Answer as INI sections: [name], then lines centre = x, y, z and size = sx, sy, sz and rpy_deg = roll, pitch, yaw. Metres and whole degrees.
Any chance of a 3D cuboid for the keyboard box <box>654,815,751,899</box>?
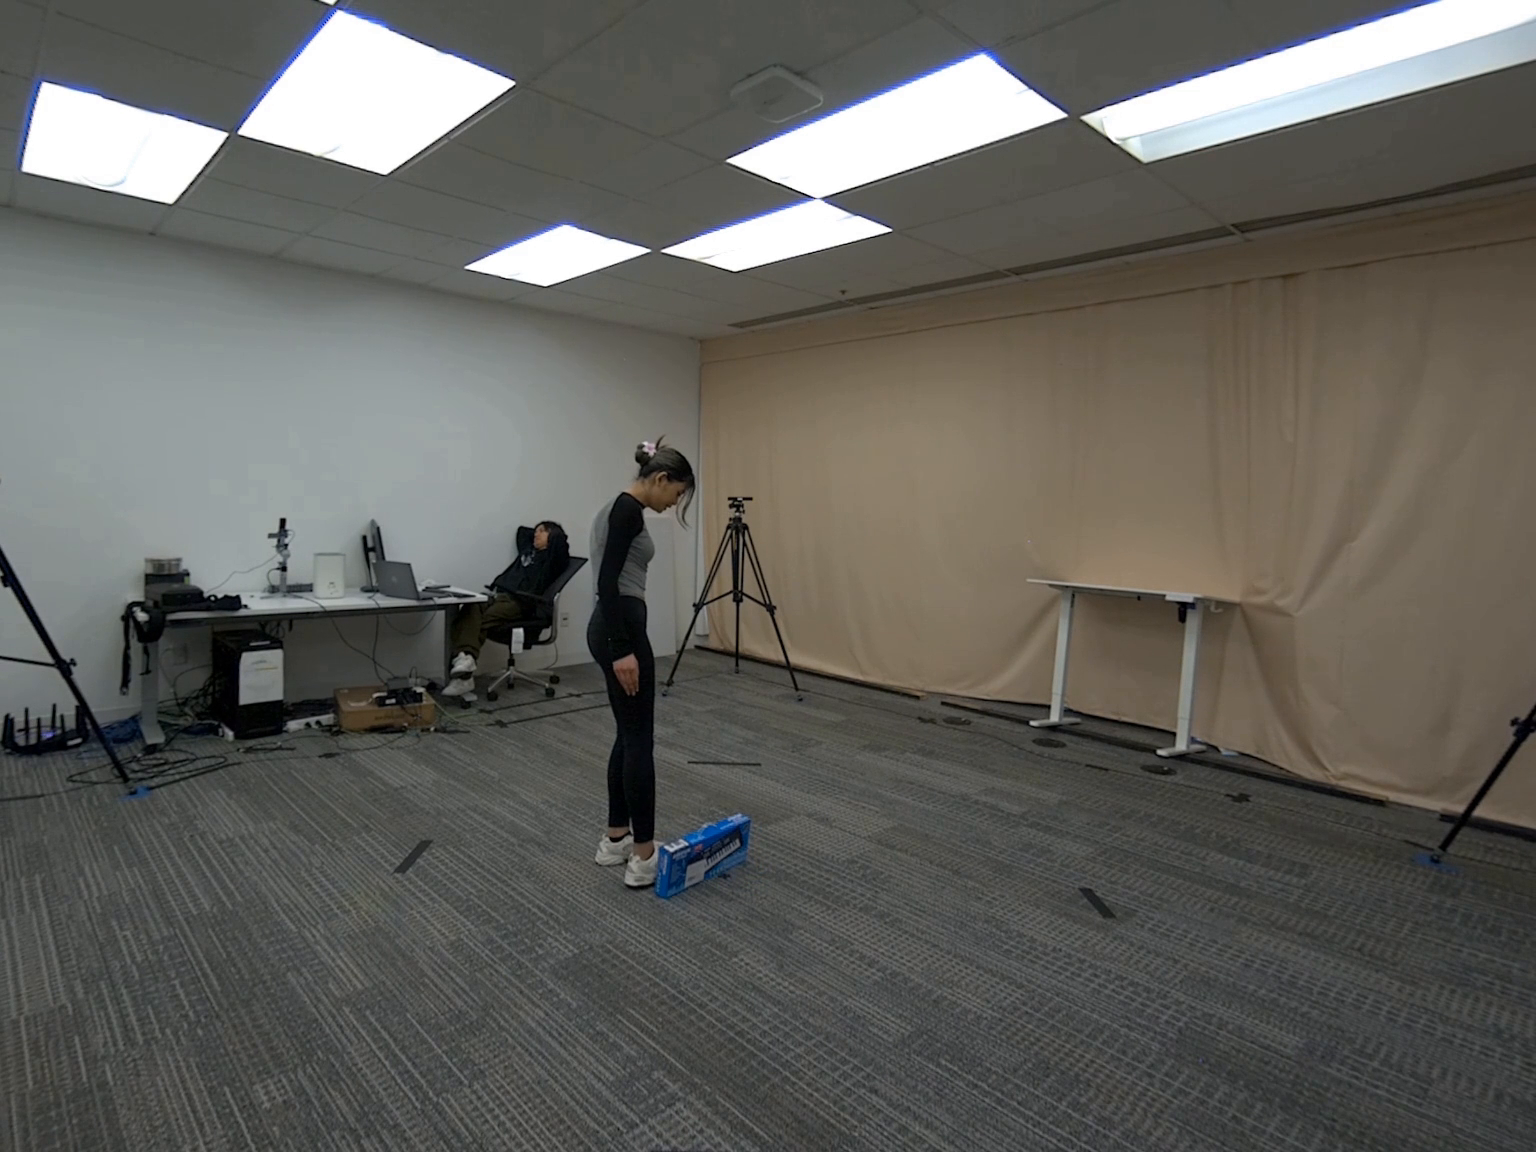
[keyboard box]
centre = -0.237, 1.022, 3.079
size = 0.061, 0.175, 0.427
rpy_deg = 12, 10, 37
